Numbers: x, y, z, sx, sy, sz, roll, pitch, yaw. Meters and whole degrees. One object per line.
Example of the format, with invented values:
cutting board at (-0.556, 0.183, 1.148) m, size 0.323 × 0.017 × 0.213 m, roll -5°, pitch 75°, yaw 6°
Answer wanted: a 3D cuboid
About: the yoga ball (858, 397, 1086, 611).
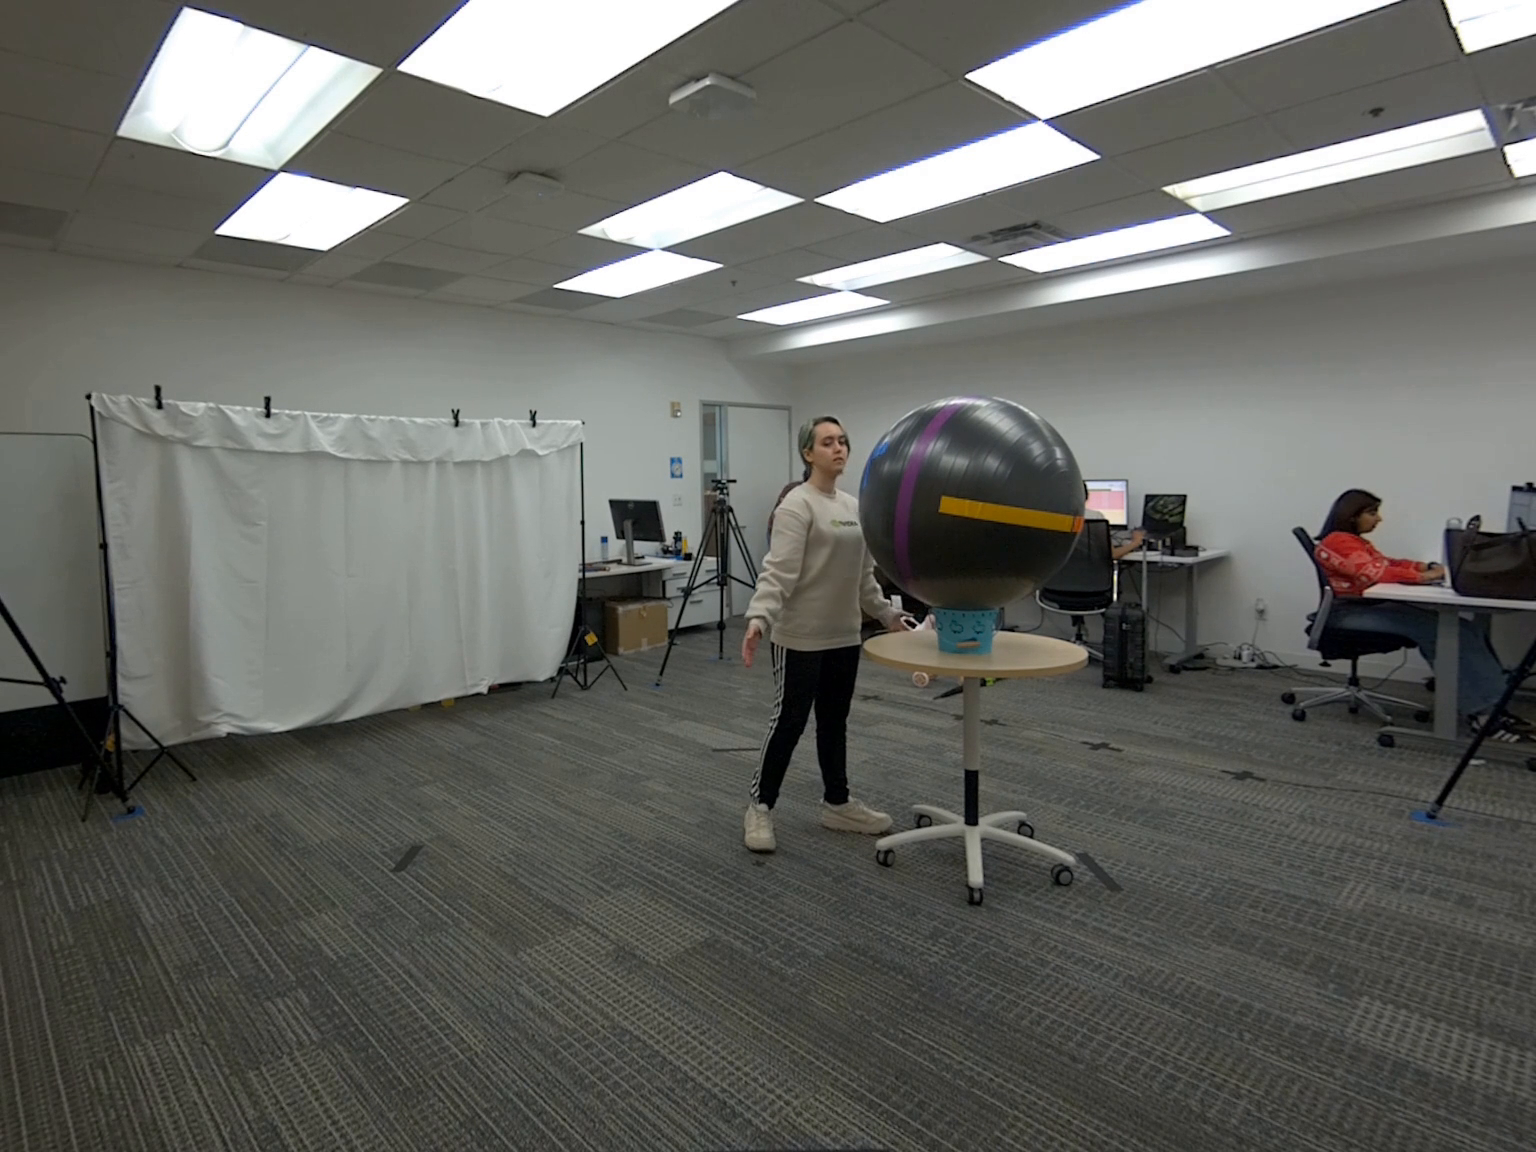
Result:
yoga ball at (0.700, -0.248, 2.986) m, size 0.757 × 0.755 × 0.762 m, roll -1°, pitch 5°, yaw -2°
